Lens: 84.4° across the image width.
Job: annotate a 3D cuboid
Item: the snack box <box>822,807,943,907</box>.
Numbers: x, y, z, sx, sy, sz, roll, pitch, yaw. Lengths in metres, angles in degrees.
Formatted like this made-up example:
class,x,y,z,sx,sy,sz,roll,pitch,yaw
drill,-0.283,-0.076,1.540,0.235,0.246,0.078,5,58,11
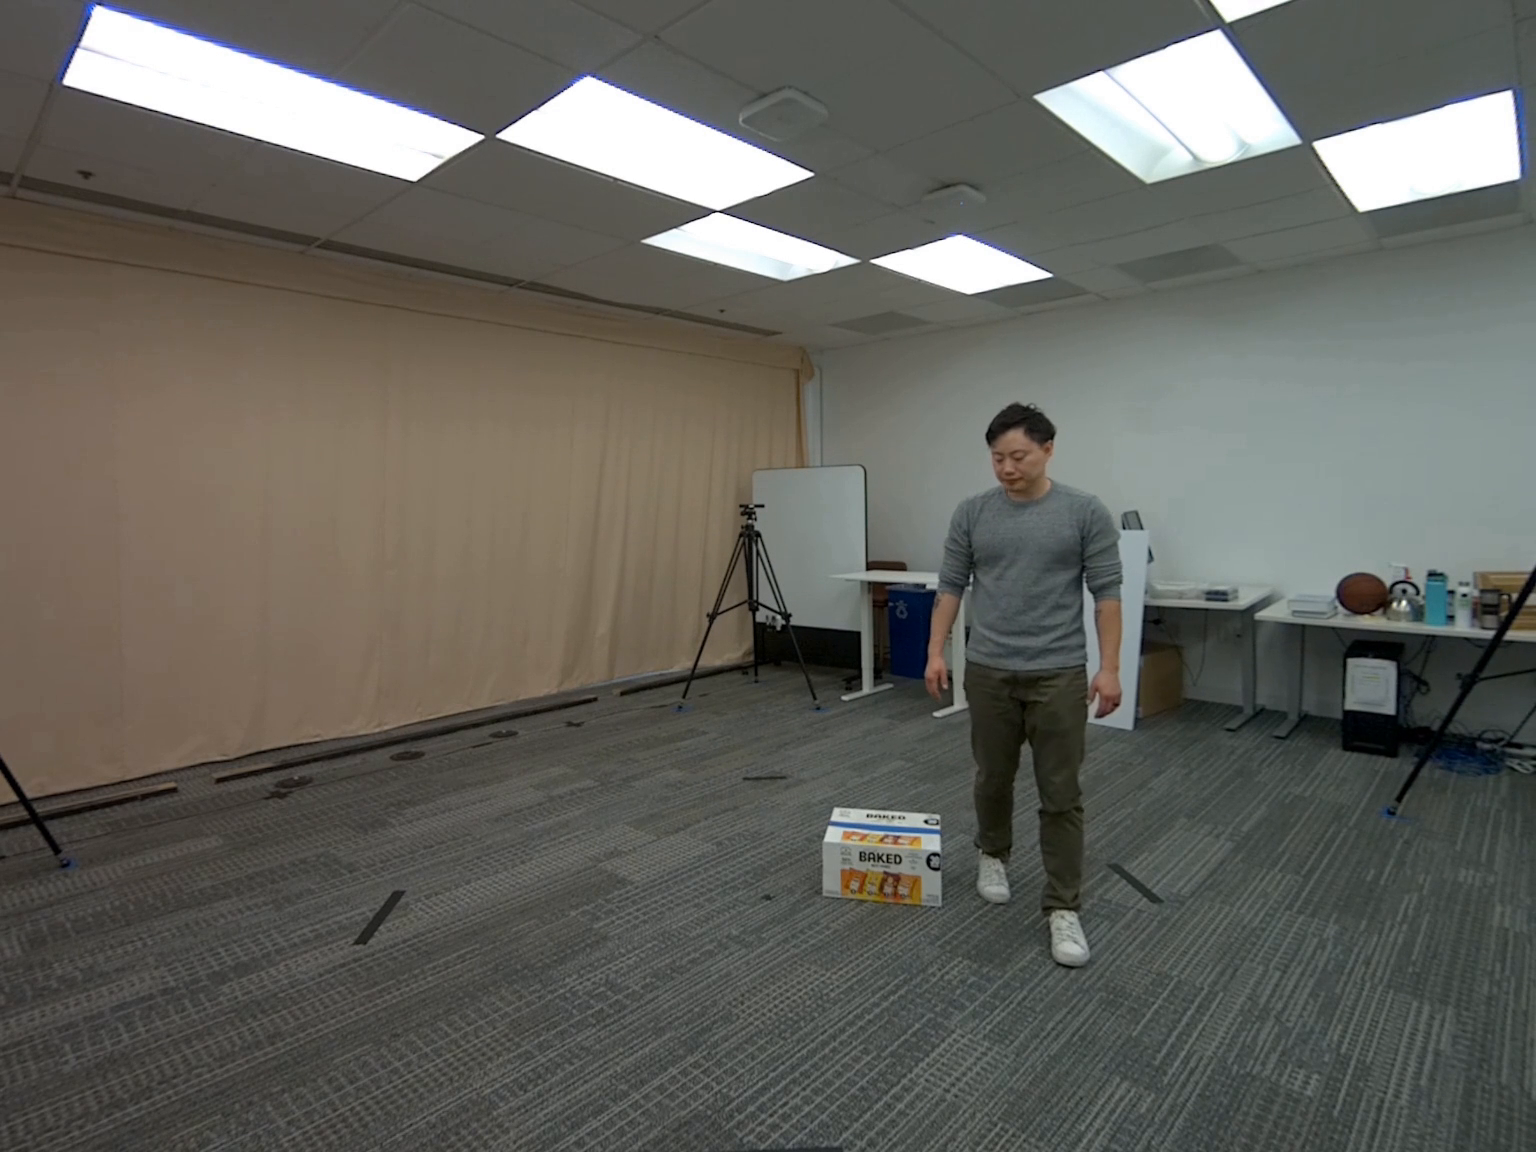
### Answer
class,x,y,z,sx,sy,sz,roll,pitch,yaw
snack box,0.430,1.024,3.091,0.411,0.205,0.336,0,5,12
